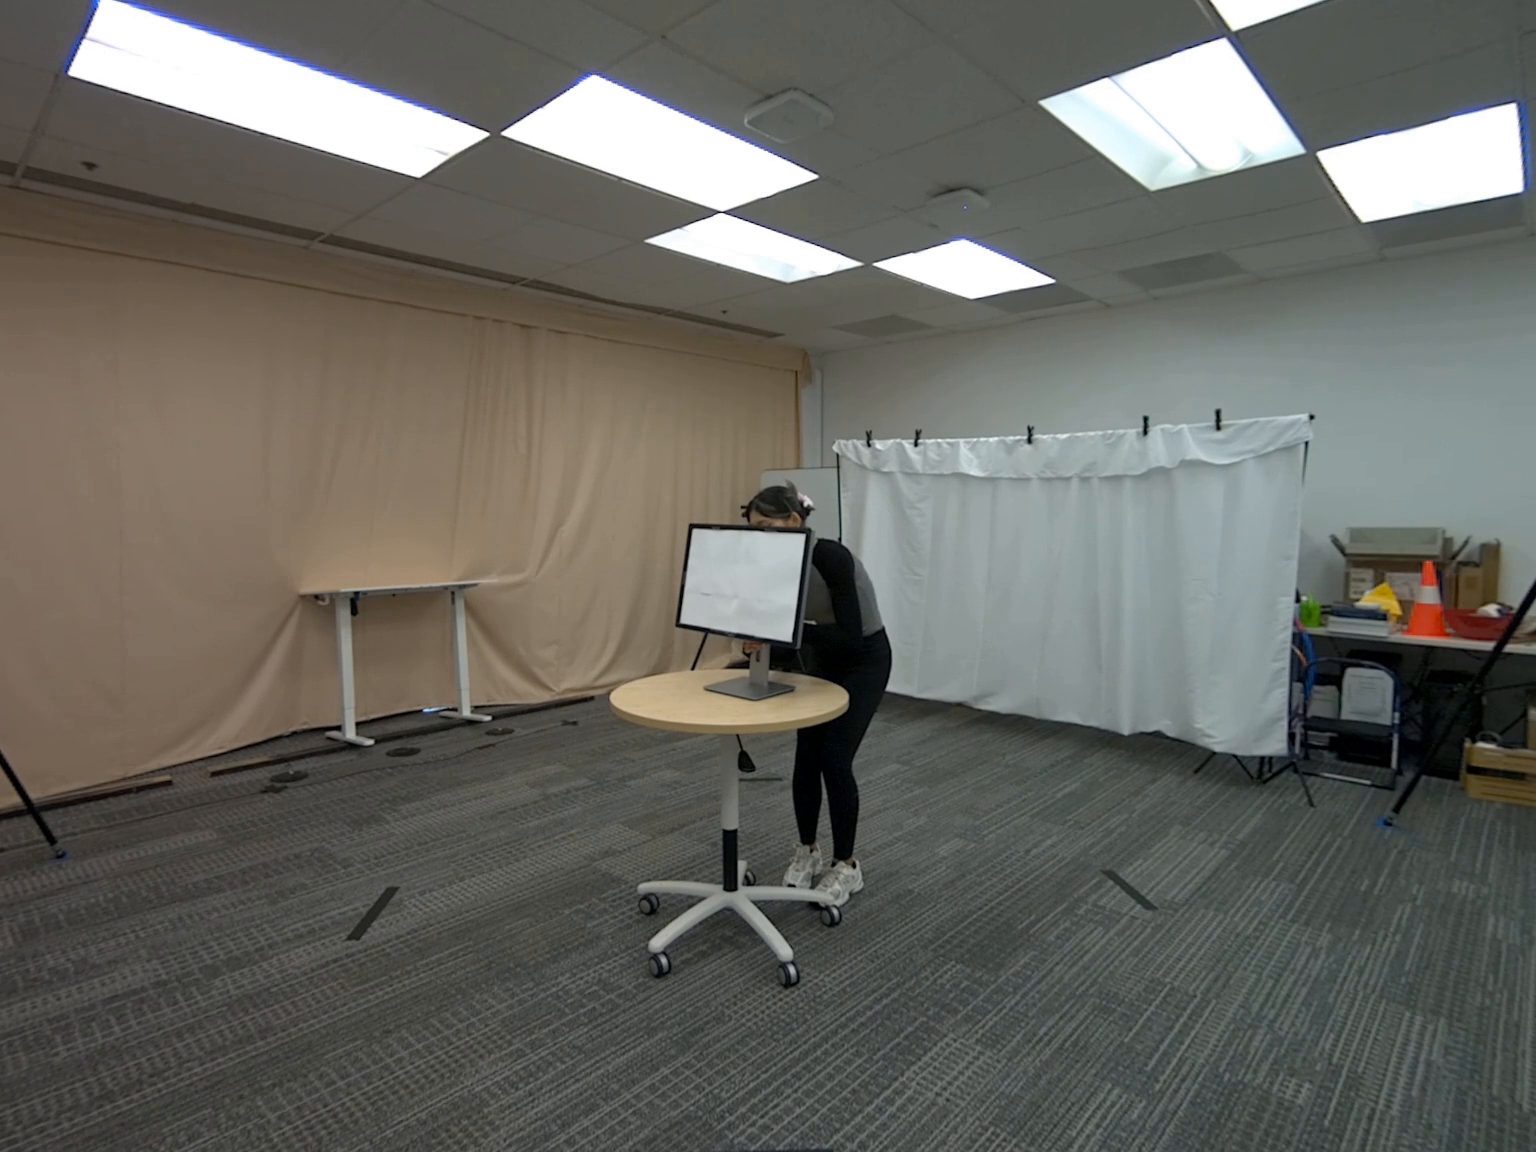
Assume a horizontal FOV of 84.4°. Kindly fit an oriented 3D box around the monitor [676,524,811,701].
[{"bbox_3d":[-0.063,0.110,2.742,0.557,0.521,0.181,4,7,44],"label":"monitor"}]
